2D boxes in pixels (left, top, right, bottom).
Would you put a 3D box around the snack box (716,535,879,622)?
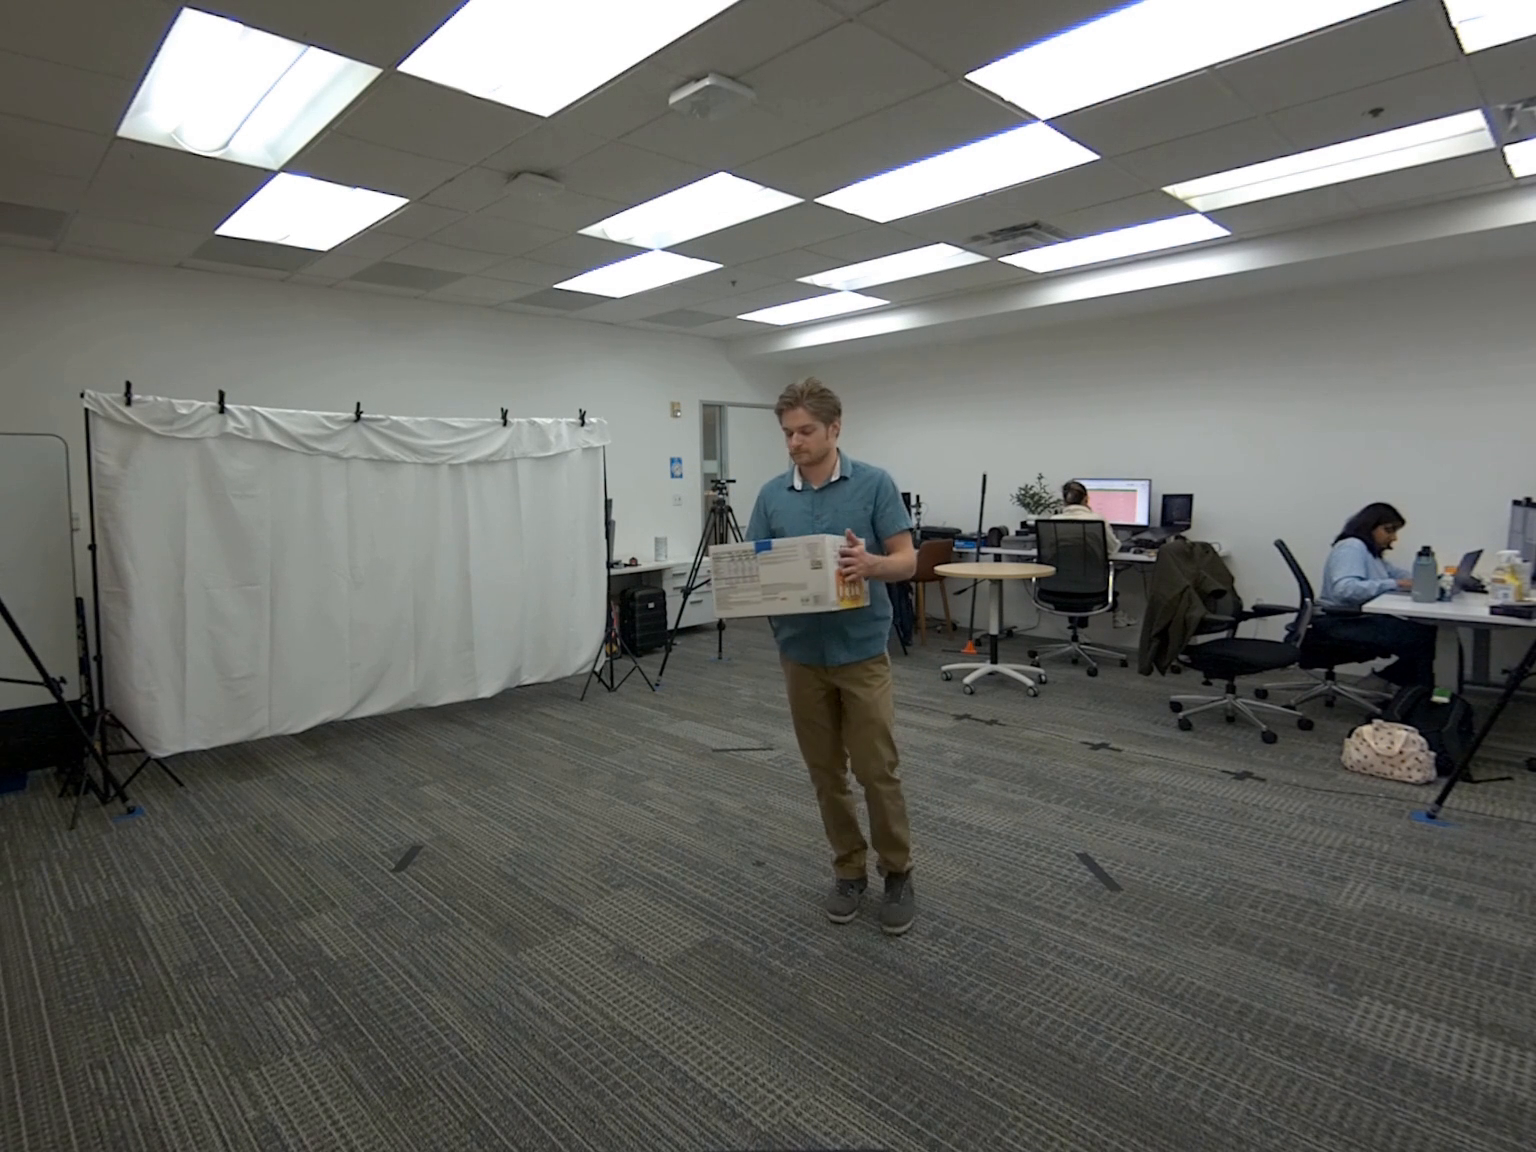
[{"bbox_3d":[0.096,0.005,2.459,0.347,0.206,0.396,-5,-2,22],"label":"snack box"}]
